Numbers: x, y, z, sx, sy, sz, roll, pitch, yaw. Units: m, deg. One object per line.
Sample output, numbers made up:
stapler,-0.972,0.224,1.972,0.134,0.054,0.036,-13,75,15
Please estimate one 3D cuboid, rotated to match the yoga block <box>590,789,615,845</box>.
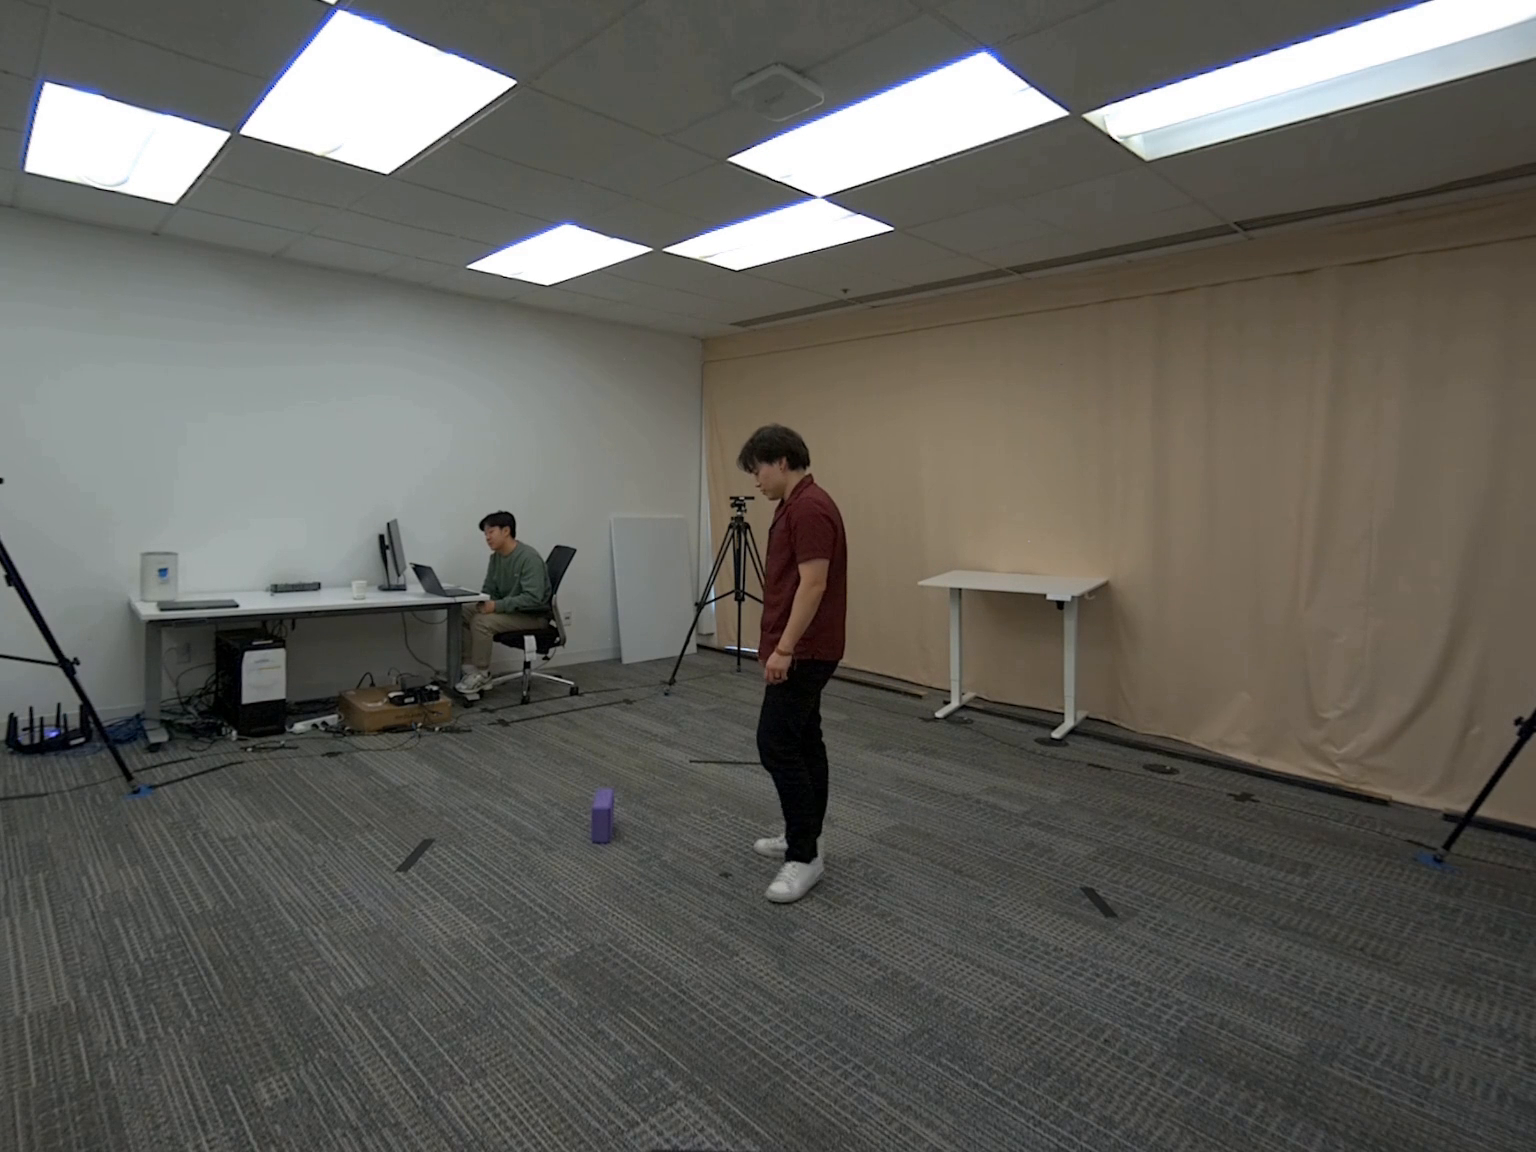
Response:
yoga block,-0.688,0.979,3.473,0.076,0.148,0.231,-2,6,-5
